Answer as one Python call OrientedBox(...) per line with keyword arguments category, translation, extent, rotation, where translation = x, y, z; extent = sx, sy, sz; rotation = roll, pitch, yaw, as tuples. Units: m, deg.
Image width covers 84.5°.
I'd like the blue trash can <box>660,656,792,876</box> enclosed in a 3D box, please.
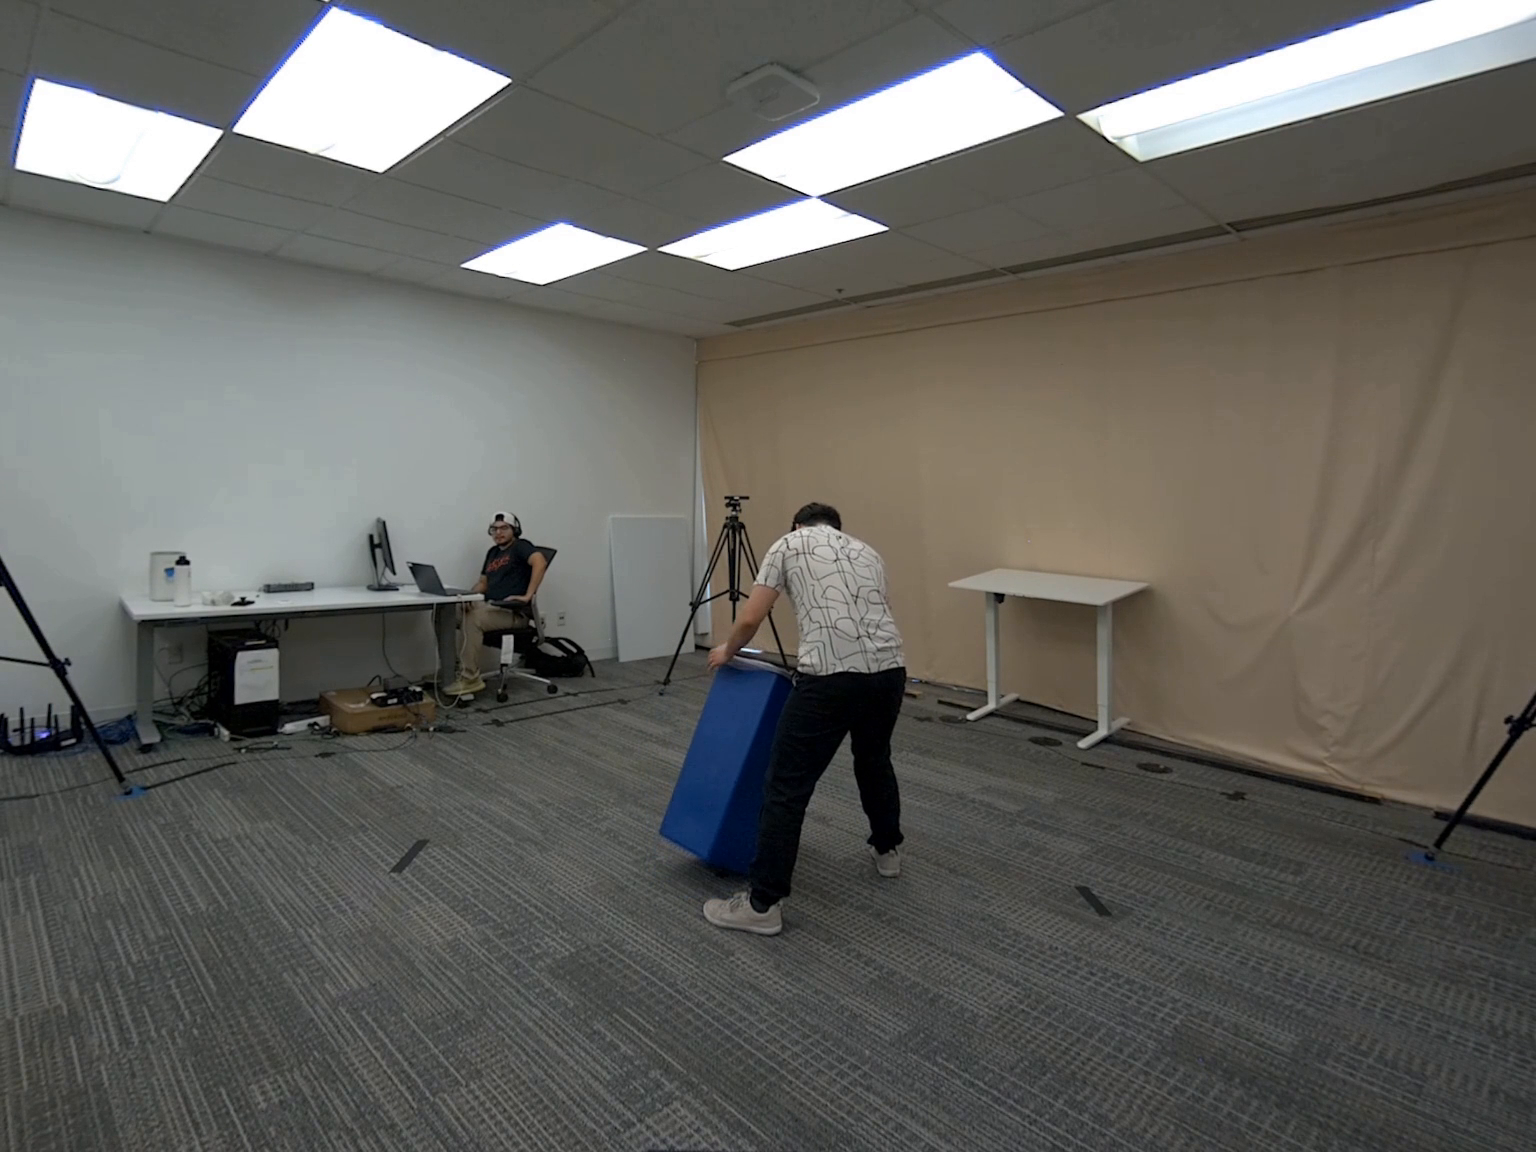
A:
OrientedBox(category="blue trash can", translation=(-0.097, 0.710, 3.189), extent=(0.384, 0.717, 0.366), rotation=(6, -21, 48))
